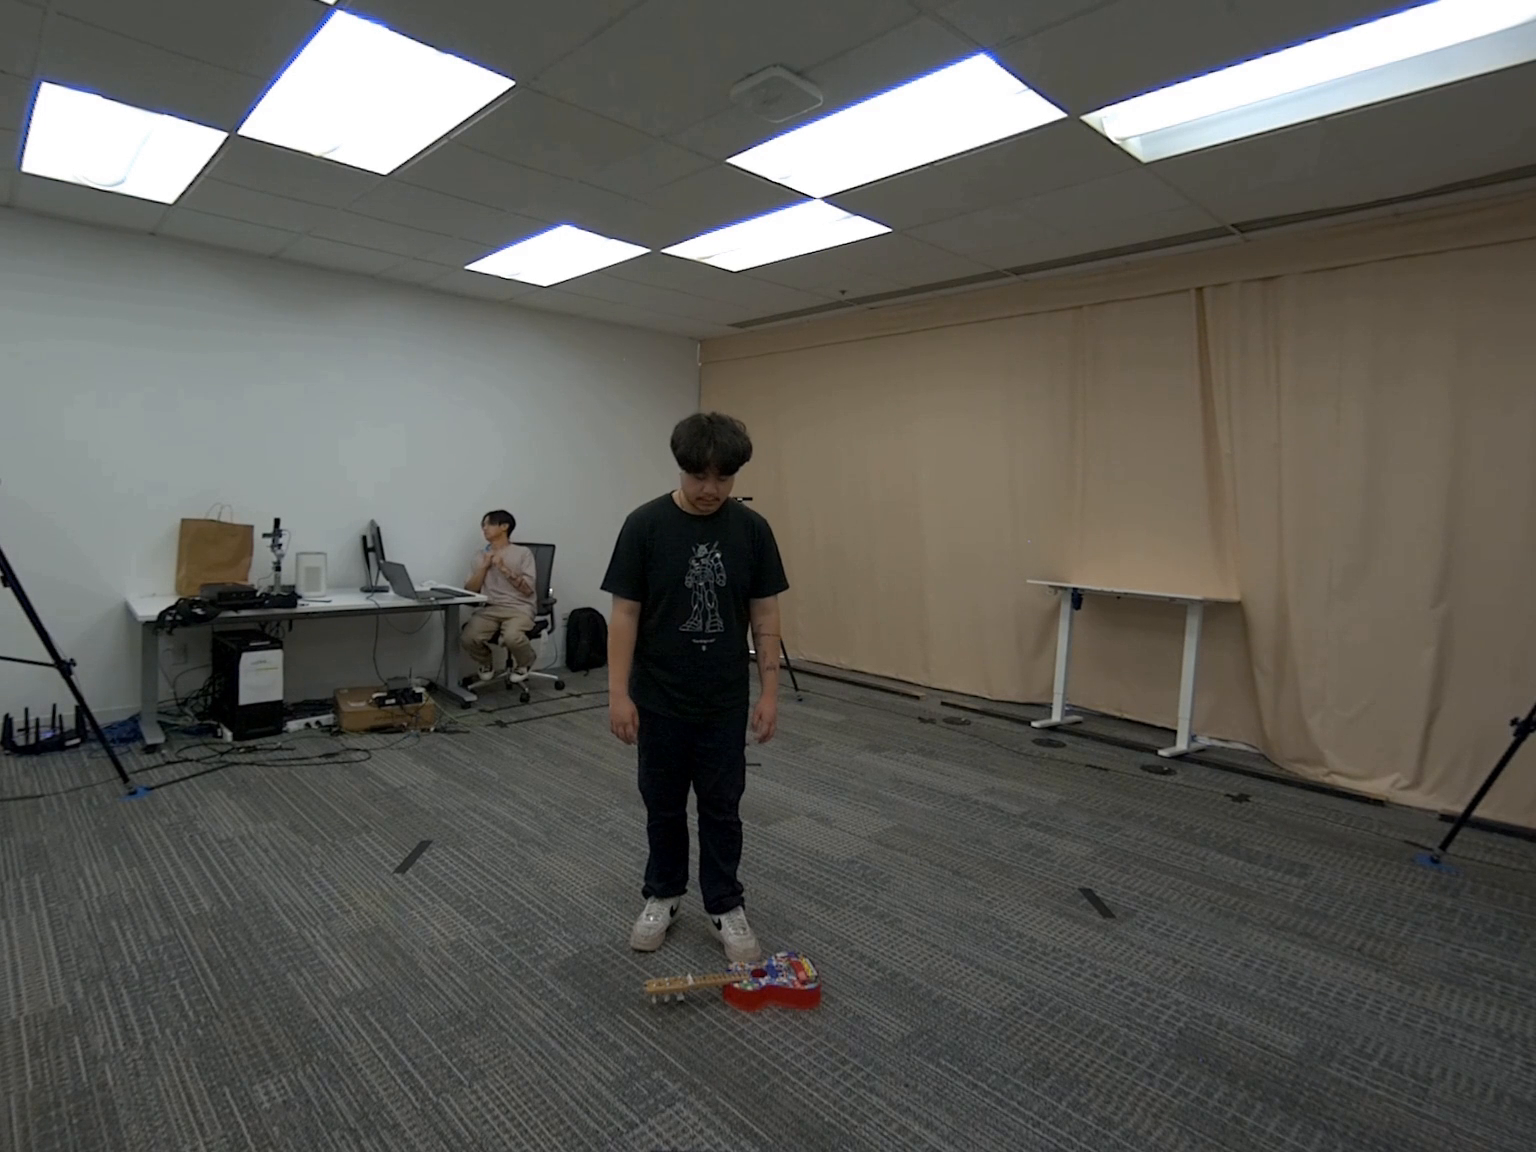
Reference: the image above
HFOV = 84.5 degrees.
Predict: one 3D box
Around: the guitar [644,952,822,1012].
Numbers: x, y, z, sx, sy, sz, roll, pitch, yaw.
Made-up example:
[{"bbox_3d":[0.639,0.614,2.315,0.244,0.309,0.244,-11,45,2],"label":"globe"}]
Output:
[{"bbox_3d":[-0.109,1.140,2.374,0.495,0.070,0.195,2,6,-6],"label":"guitar"}]
